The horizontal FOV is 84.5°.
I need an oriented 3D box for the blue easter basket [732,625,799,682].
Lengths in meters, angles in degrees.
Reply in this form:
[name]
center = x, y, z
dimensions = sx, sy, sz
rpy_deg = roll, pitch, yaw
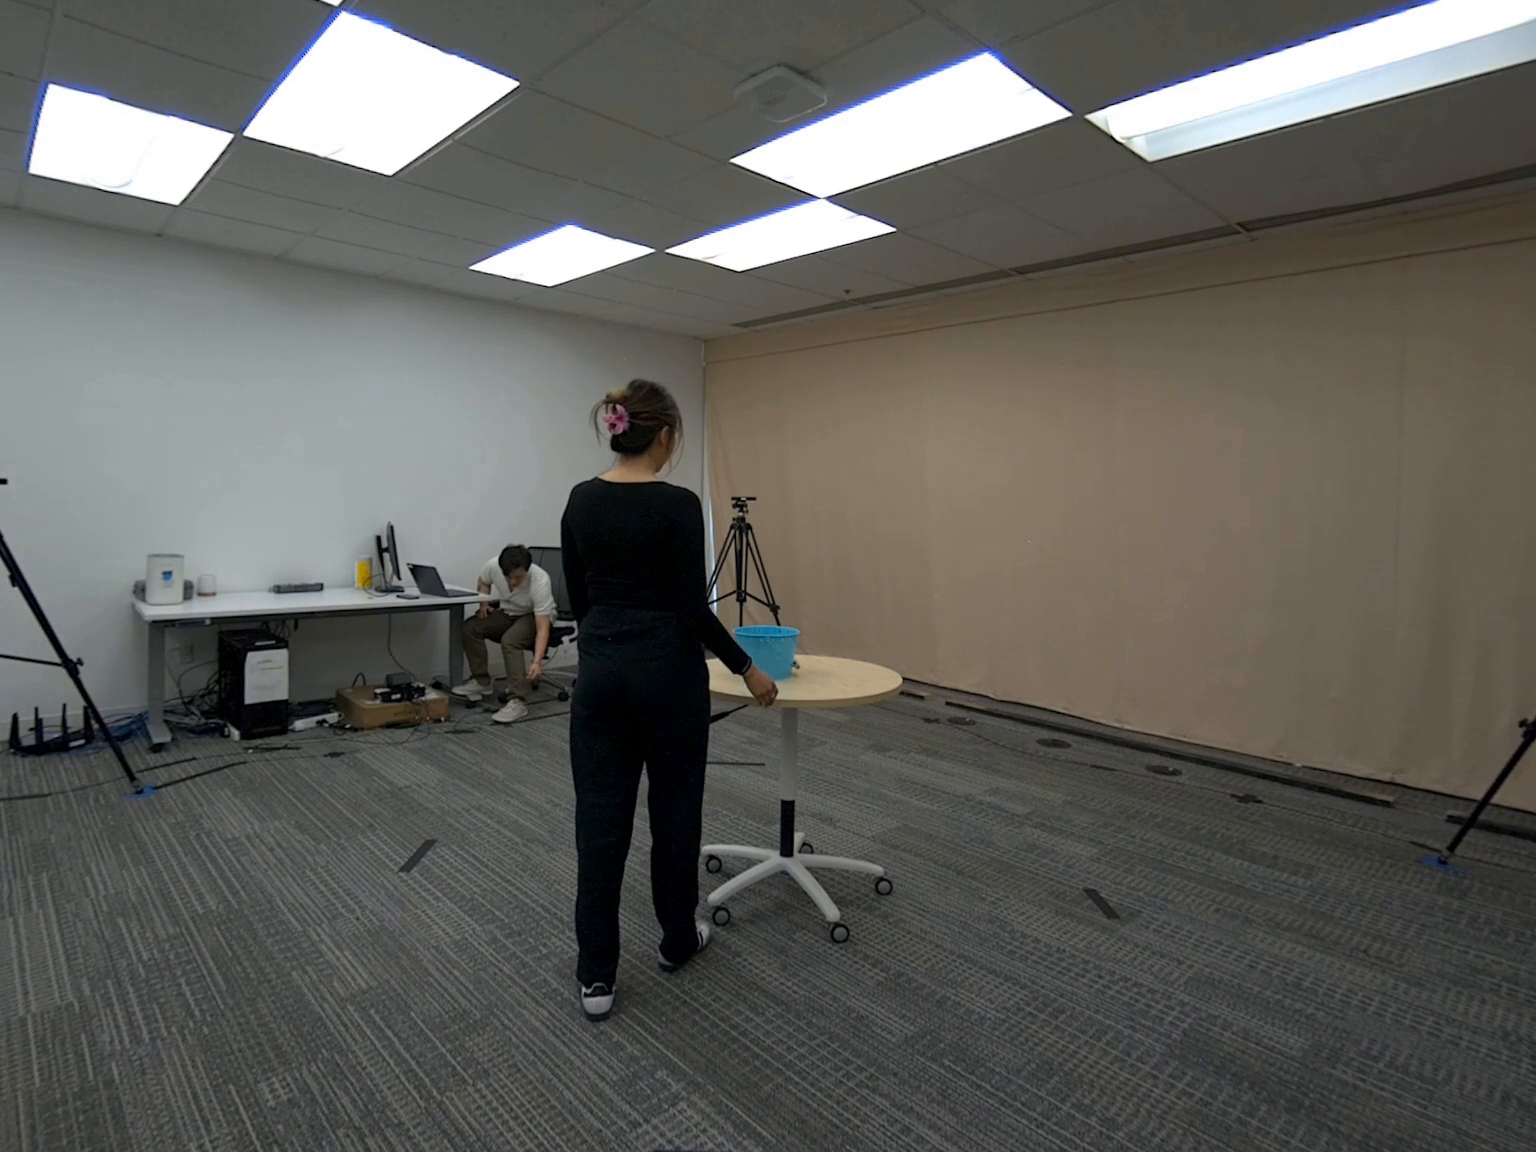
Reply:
[blue easter basket]
center = -0.006, 0.271, 2.914
dimensions = 0.243, 0.155, 0.244
rpy_deg = 0, 4, -1
